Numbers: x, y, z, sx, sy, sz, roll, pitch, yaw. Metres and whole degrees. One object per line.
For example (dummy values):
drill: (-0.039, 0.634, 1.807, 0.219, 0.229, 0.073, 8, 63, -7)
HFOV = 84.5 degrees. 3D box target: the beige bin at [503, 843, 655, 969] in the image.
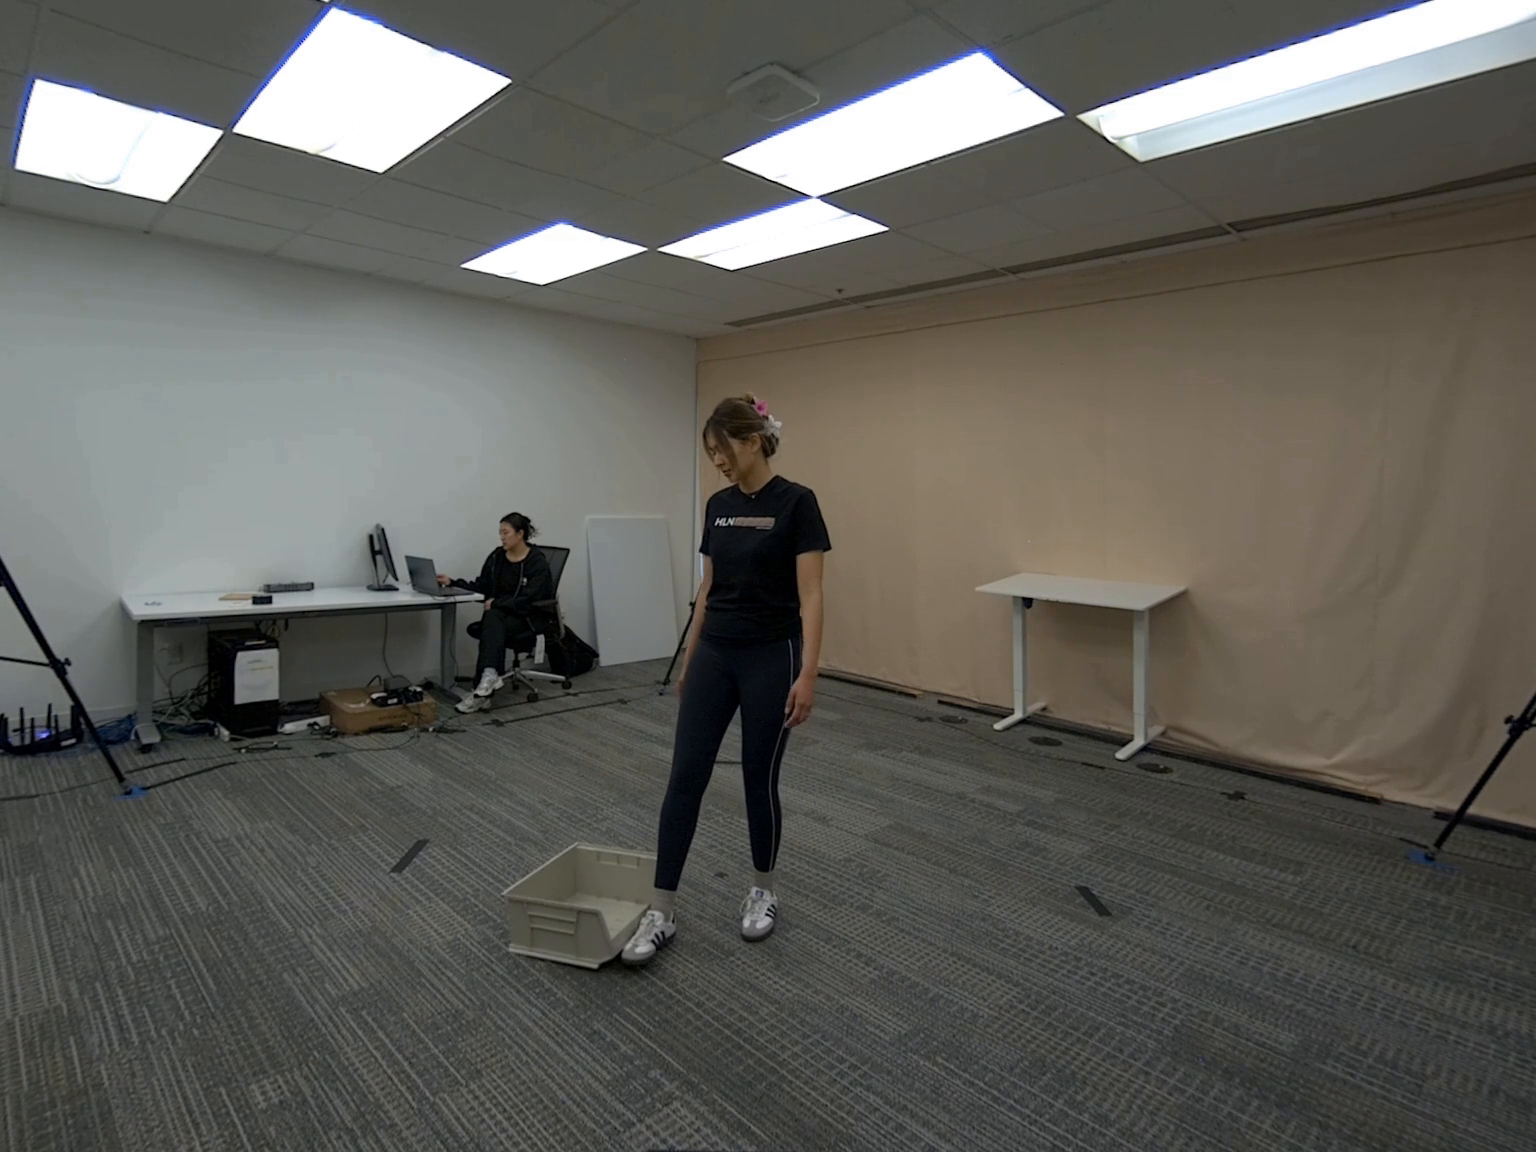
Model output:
beige bin: (-0.563, 1.036, 2.679, 0.383, 0.188, 0.416, -1, 4, 21)
